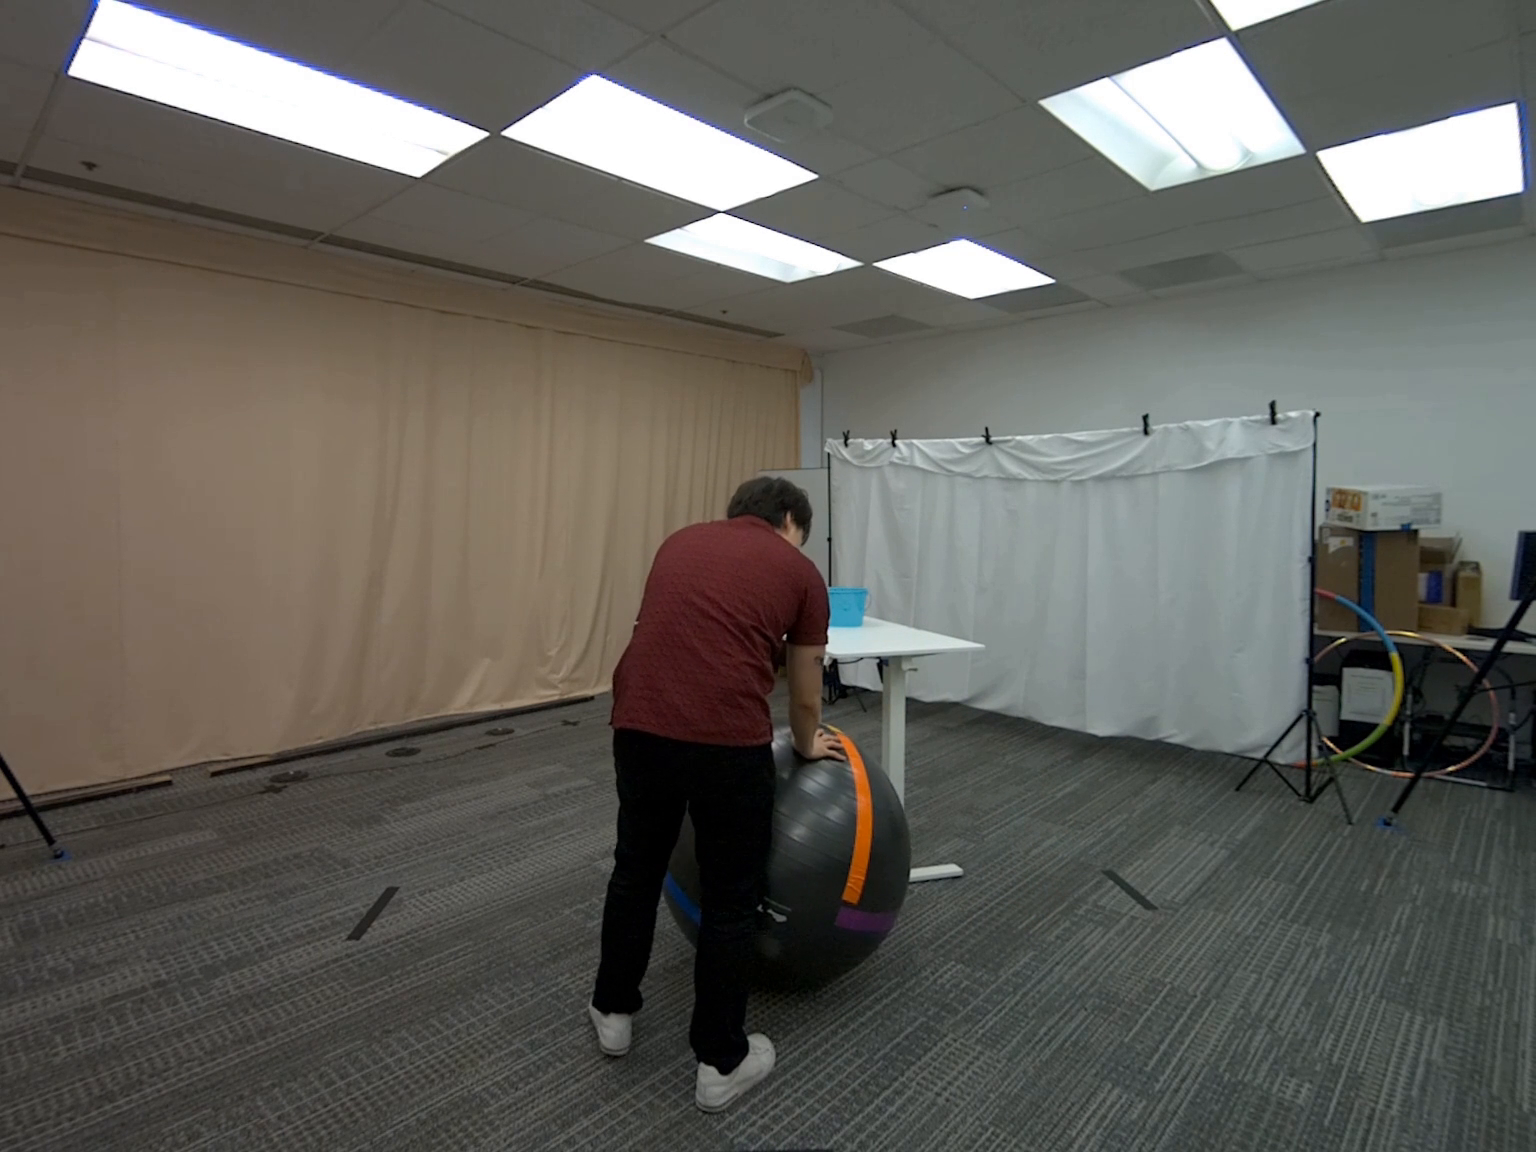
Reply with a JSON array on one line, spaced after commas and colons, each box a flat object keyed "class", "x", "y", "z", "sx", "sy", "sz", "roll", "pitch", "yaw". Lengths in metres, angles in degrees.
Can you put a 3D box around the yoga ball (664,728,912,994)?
[{"class": "yoga ball", "x": 0.047, "y": 0.817, "z": 2.524, "sx": 0.757, "sy": 0.756, "sz": 0.760, "roll": 0, "pitch": 4, "yaw": -2}]
